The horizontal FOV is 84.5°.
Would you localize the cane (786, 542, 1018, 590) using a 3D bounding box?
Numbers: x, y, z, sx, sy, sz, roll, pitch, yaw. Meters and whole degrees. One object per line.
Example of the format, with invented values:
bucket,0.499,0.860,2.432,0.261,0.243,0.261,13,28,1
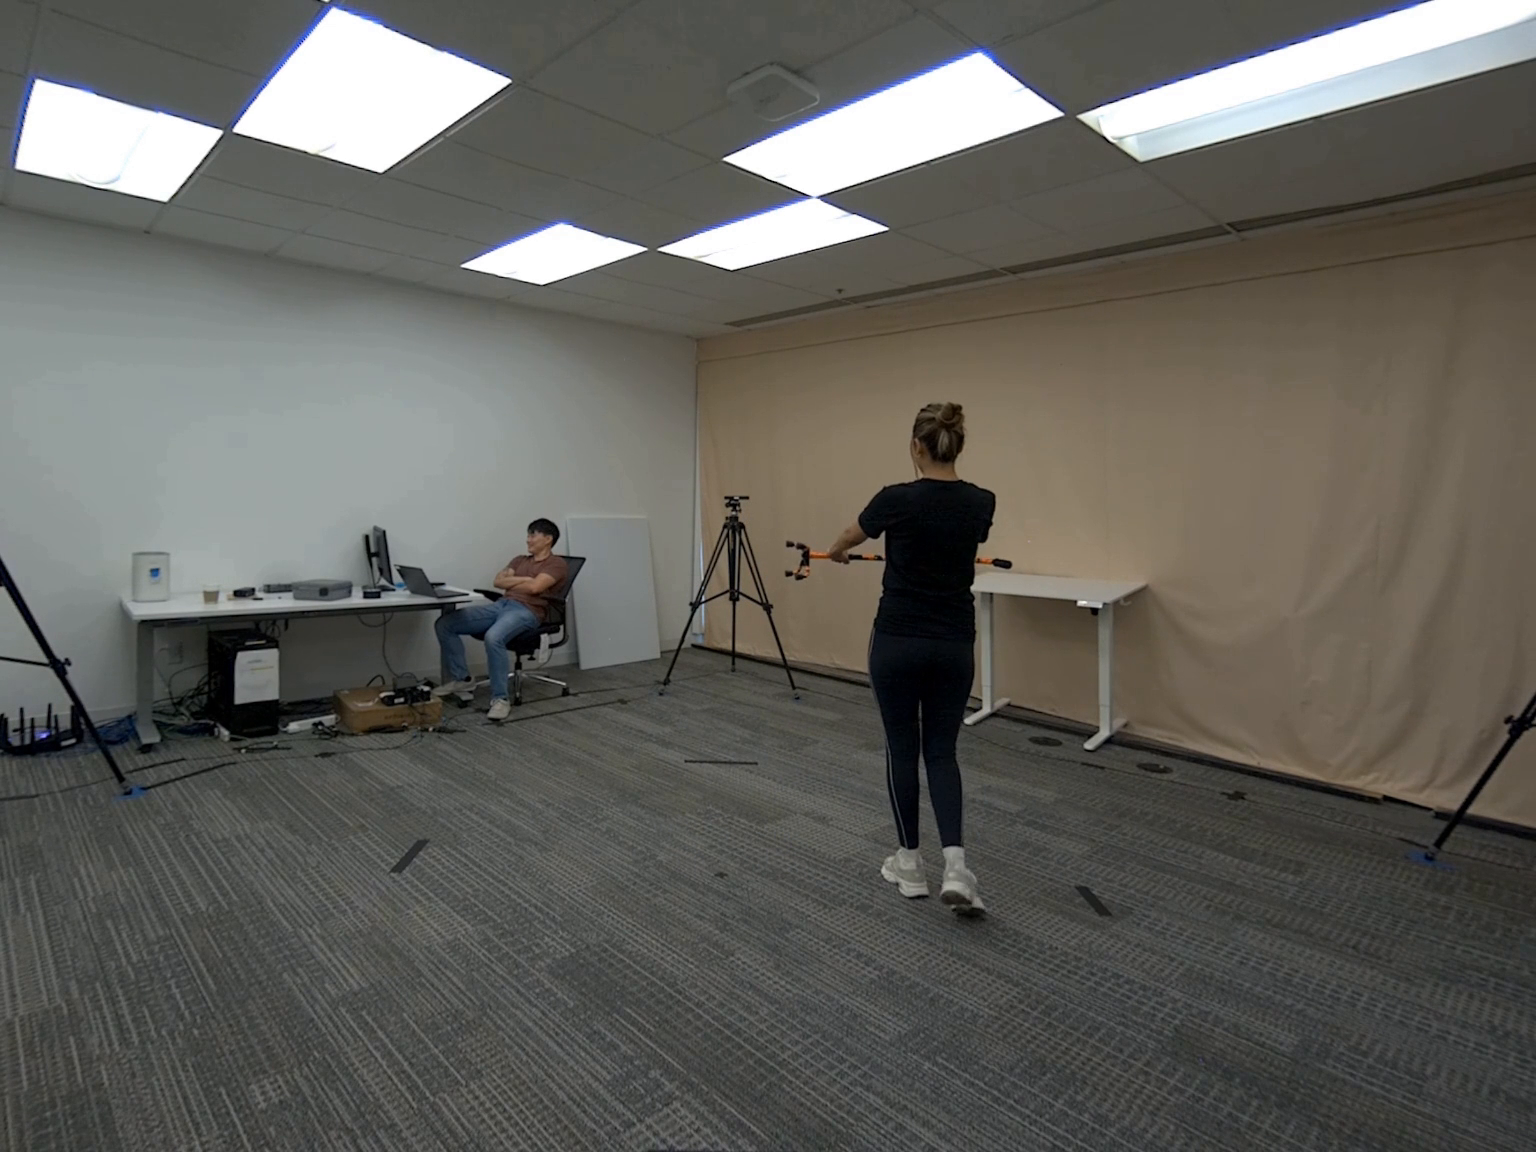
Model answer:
cane,0.543,-0.045,3.474,0.901,0.151,0.208,2,2,-9
